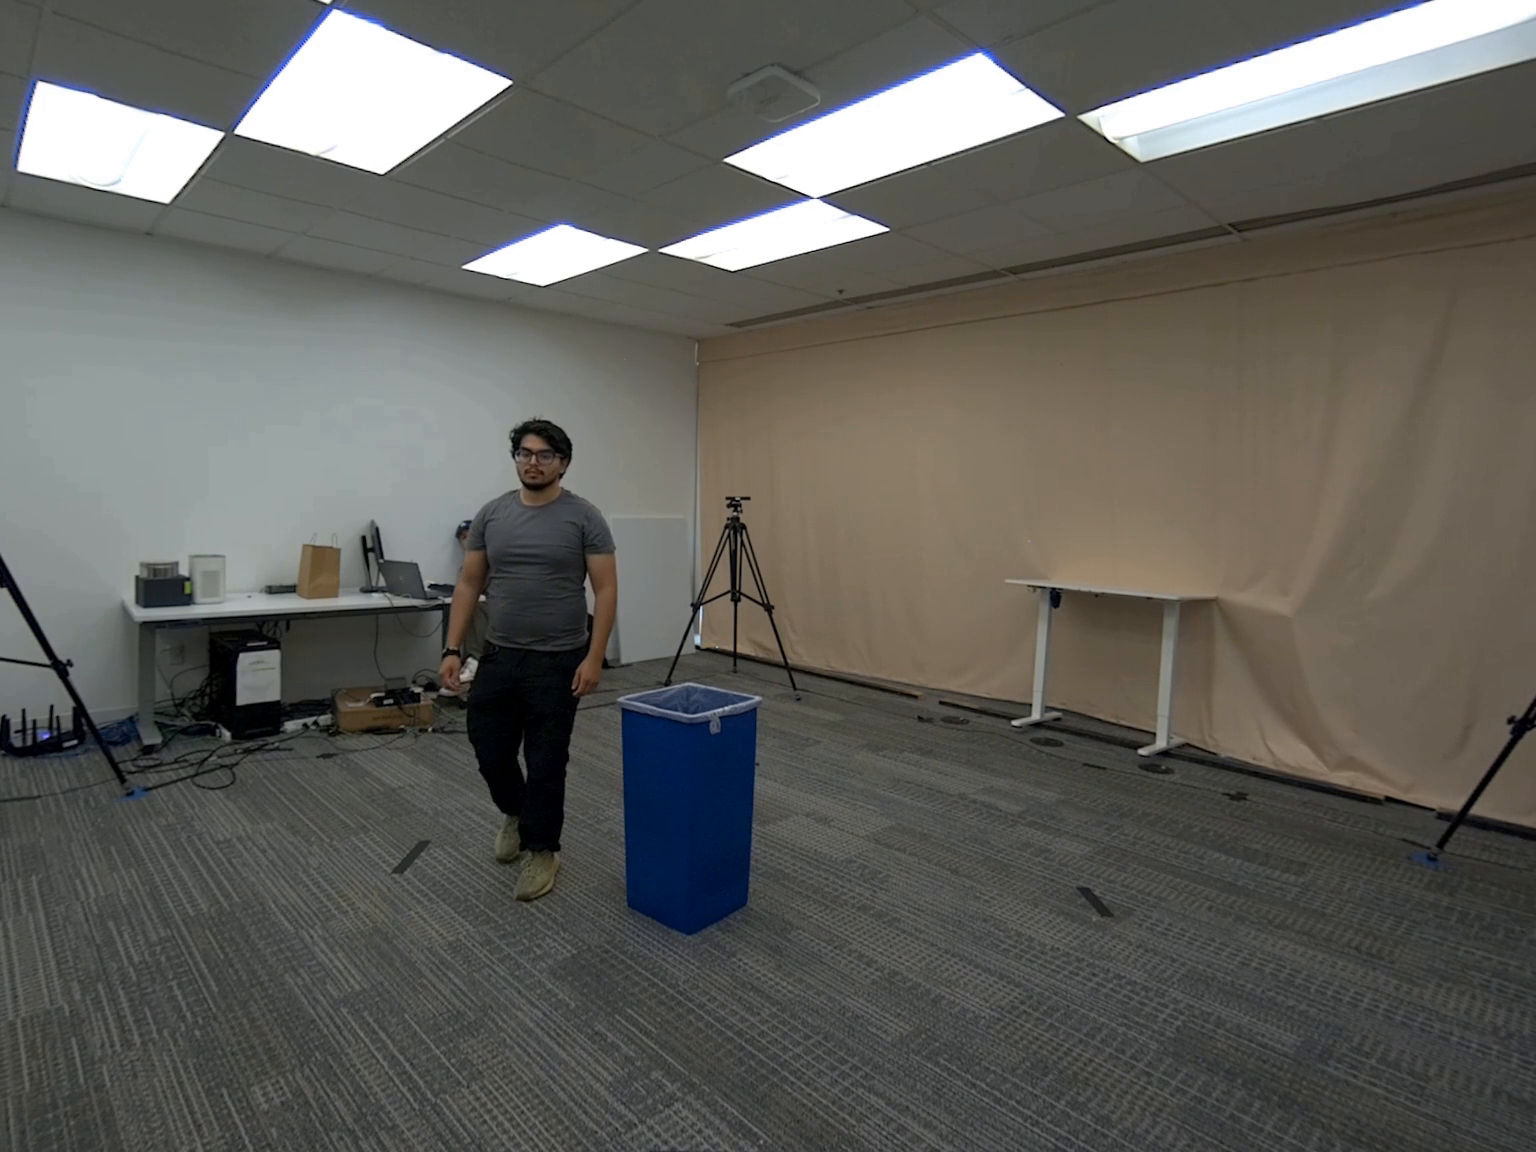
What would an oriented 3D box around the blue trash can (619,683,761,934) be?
[{"bbox_3d":[-0.283,0.767,2.863,0.383,0.712,0.369,4,4,39],"label":"blue trash can"}]
